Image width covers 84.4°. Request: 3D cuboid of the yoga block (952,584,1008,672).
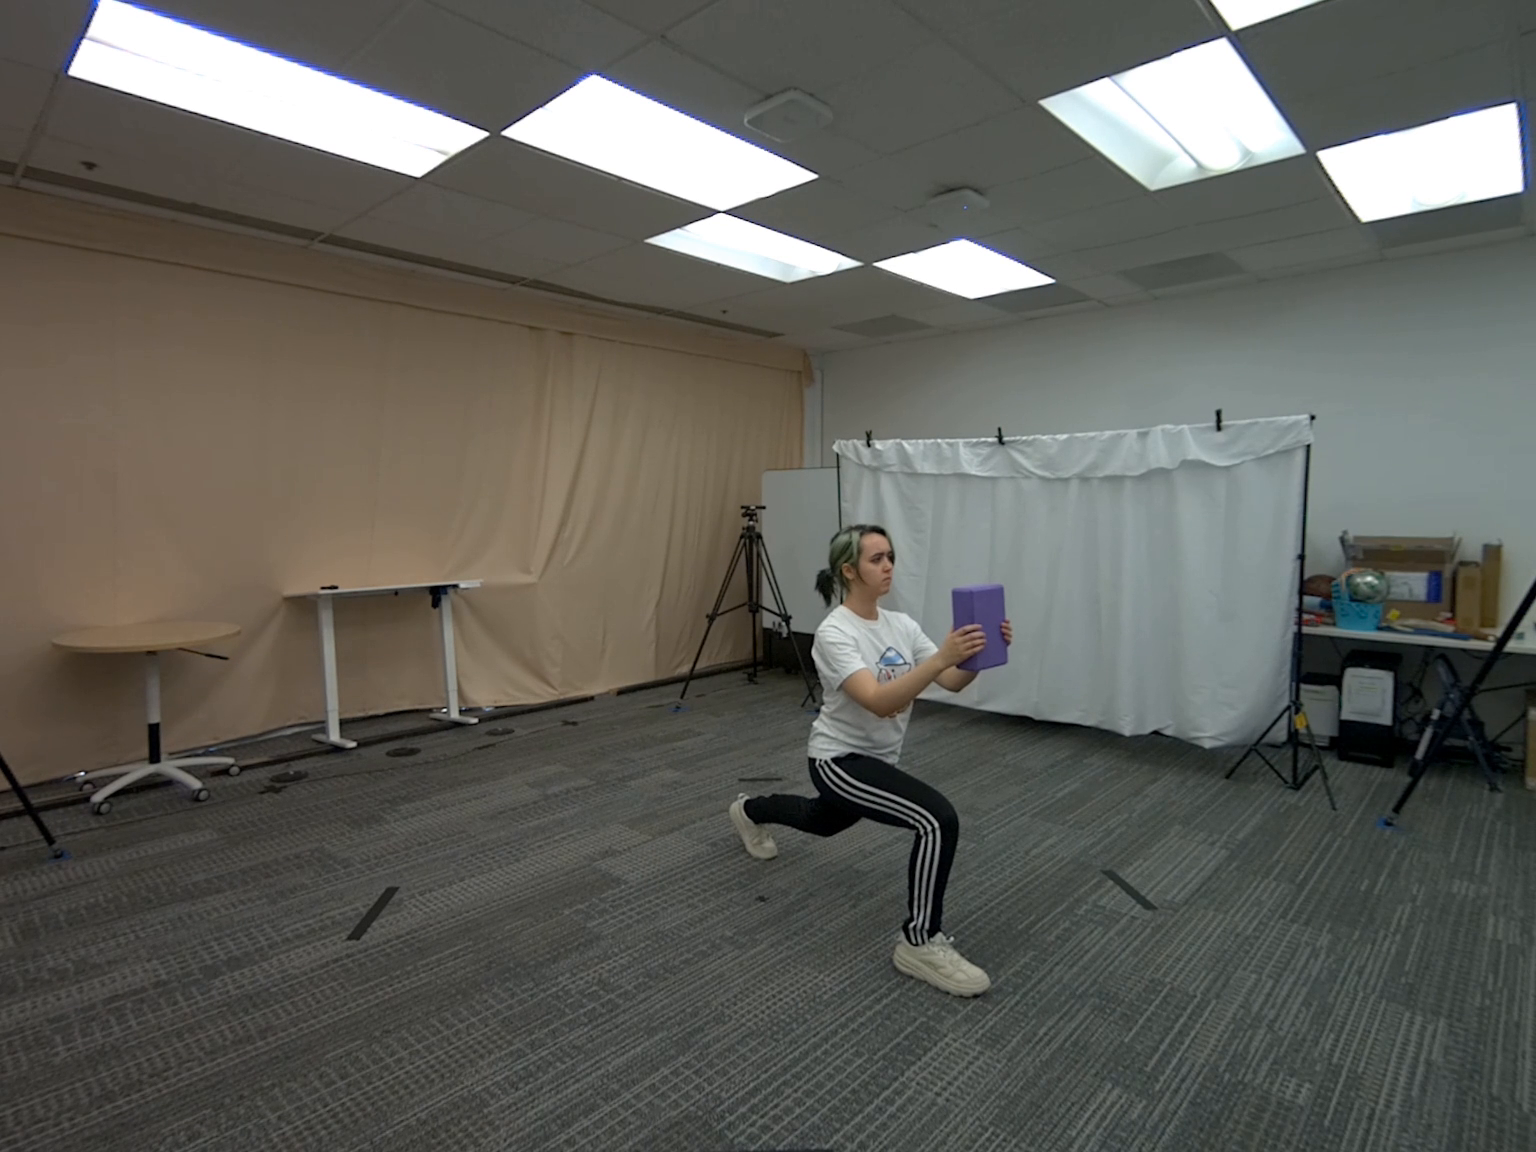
[{"bbox_3d":[0.606,0.144,2.370,0.145,0.229,0.079,-6,3,-33],"label":"yoga block"}]
